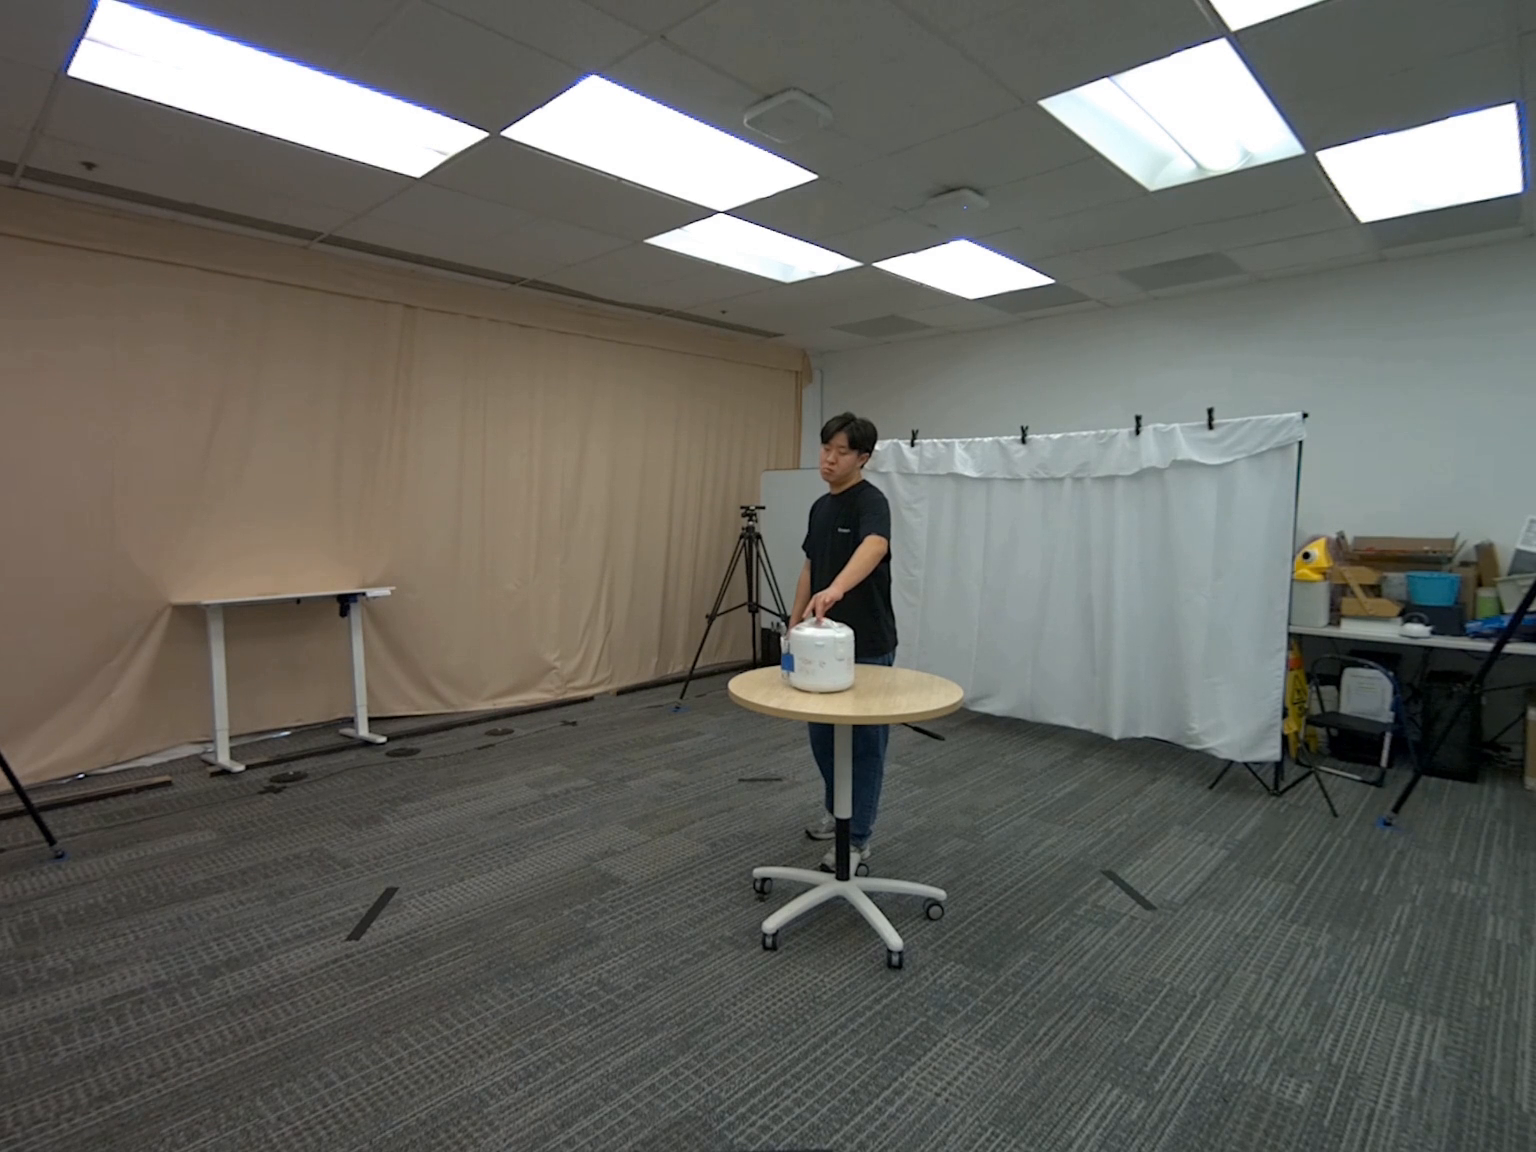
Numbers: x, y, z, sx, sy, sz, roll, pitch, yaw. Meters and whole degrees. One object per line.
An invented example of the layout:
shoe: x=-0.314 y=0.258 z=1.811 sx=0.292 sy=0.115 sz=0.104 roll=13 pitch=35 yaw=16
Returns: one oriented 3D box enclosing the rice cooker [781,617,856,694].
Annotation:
rice cooker: x=0.174 y=0.251 z=2.757 sx=0.212 sy=0.232 sz=0.227 roll=-2 pitch=5 yaw=-30
